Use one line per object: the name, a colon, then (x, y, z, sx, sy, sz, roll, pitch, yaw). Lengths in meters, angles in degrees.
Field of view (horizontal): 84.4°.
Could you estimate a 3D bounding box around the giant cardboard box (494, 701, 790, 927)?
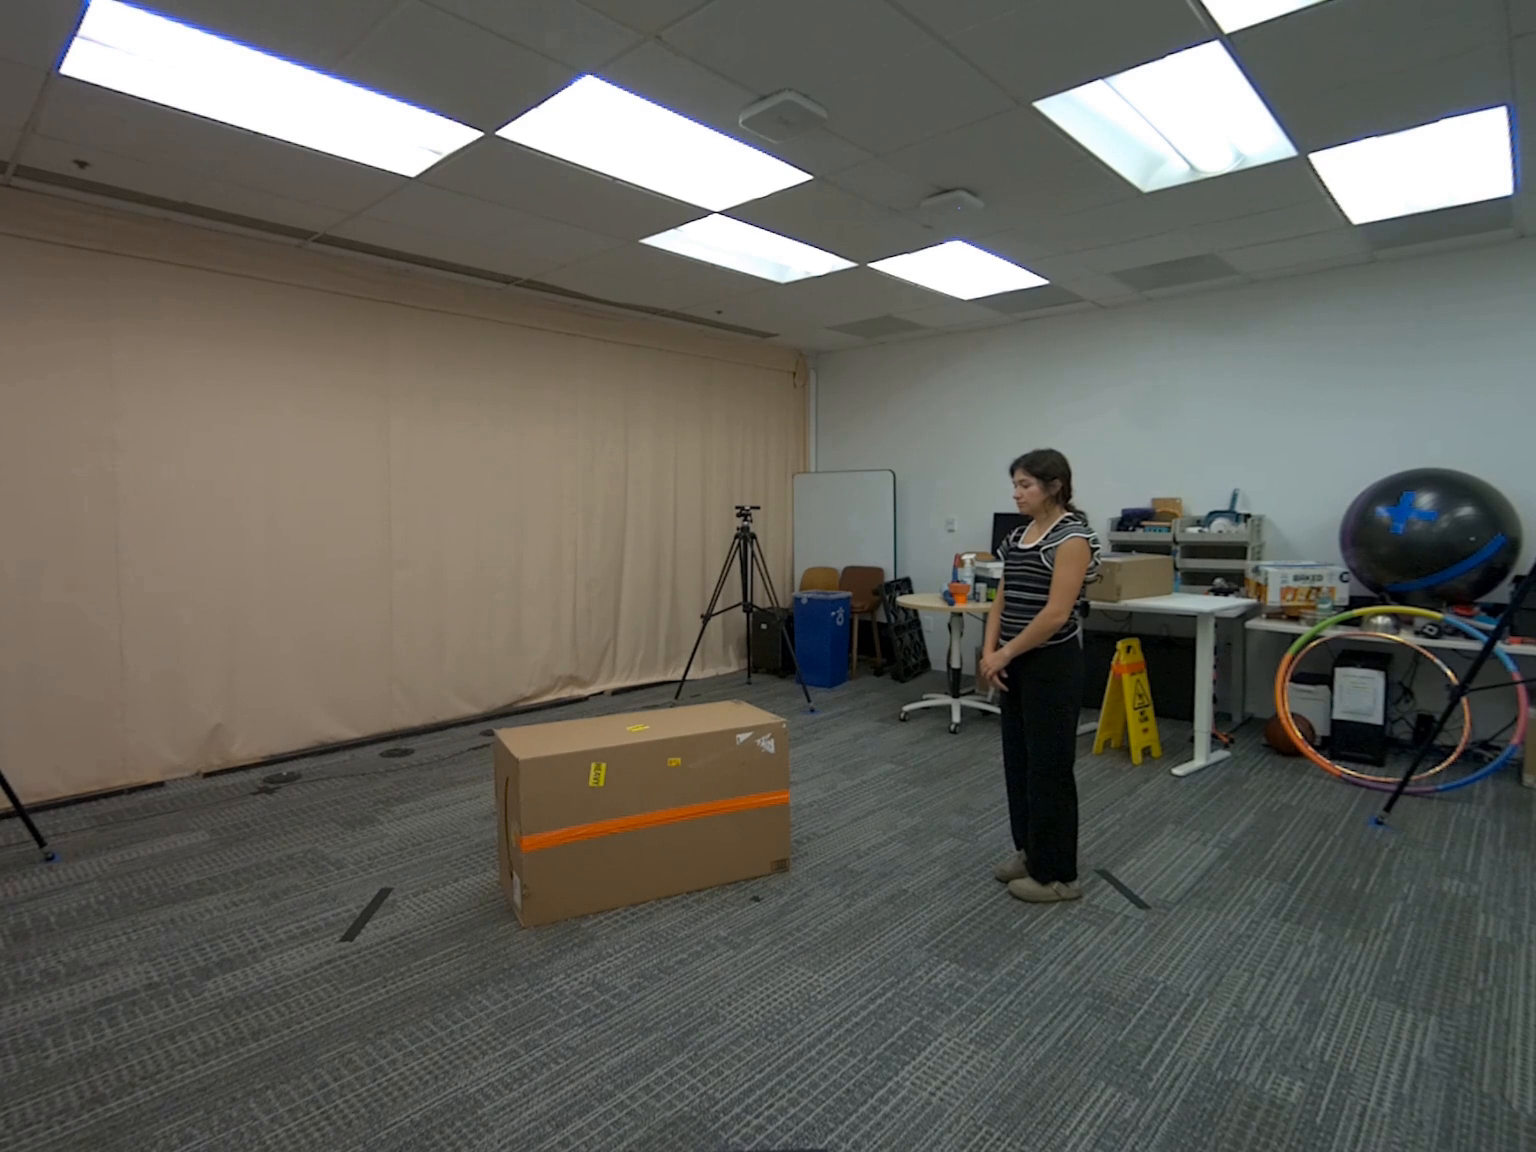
giant cardboard box: (-0.466, 0.848, 3.172, 1.001, 0.576, 0.437, -3, 3, -25)
